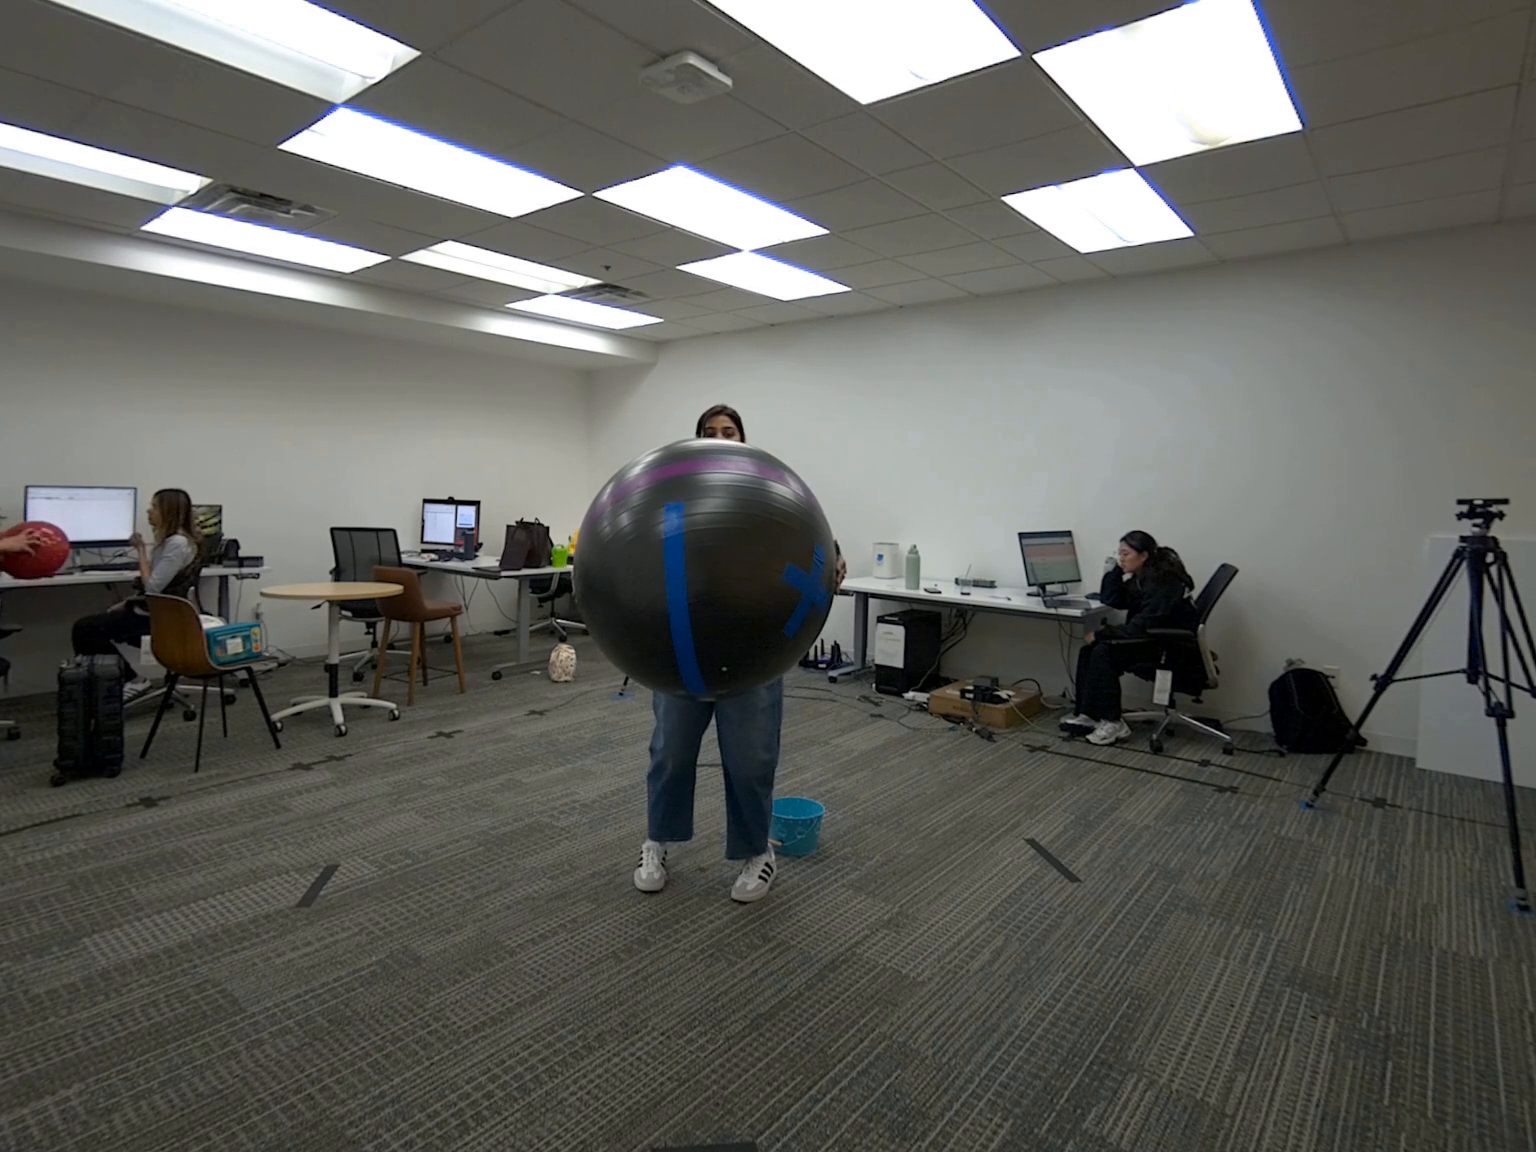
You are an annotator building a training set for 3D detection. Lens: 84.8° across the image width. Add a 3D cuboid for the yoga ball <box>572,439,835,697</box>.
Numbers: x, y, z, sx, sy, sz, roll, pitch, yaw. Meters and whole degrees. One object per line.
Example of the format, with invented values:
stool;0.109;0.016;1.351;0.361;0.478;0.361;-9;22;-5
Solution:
yoga ball;-0.196;-0.017;2.473;0.757;0.756;0.762;1;4;-2
